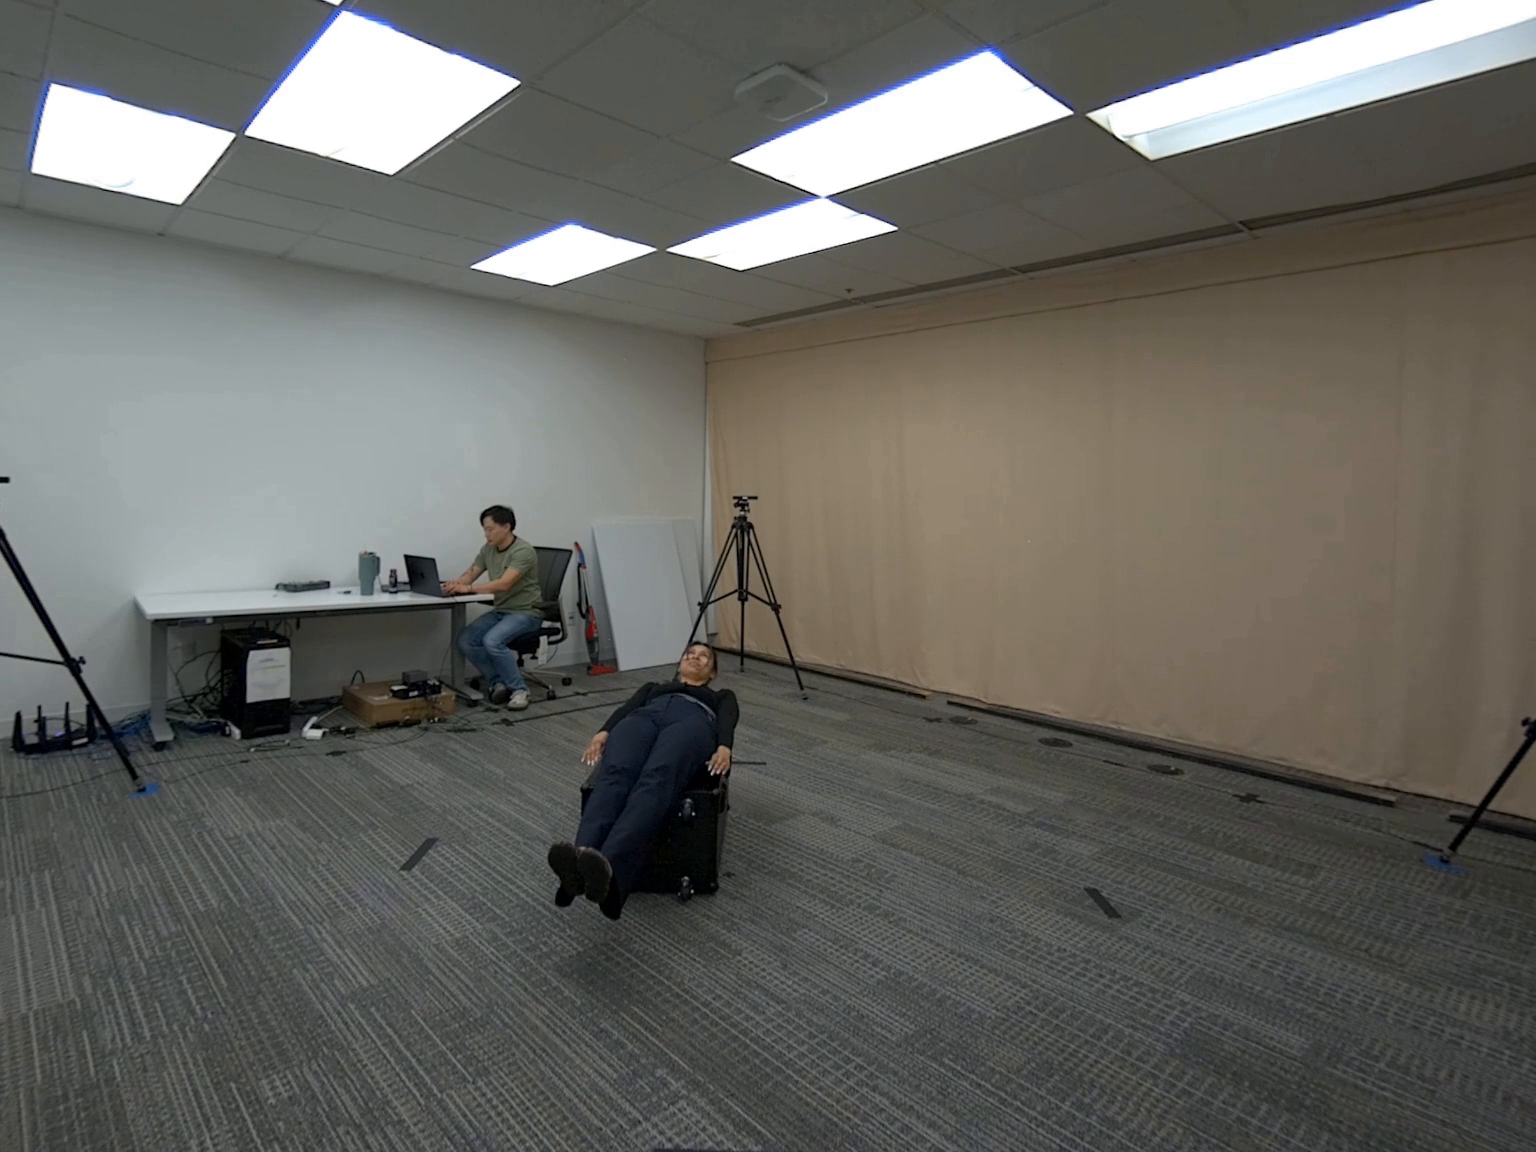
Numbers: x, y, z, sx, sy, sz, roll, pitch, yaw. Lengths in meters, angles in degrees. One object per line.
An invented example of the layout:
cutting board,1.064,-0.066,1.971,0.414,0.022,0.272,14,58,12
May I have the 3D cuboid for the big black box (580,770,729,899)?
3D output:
big black box,-0.419,0.886,3.272,0.522,0.395,0.863,2,4,0
